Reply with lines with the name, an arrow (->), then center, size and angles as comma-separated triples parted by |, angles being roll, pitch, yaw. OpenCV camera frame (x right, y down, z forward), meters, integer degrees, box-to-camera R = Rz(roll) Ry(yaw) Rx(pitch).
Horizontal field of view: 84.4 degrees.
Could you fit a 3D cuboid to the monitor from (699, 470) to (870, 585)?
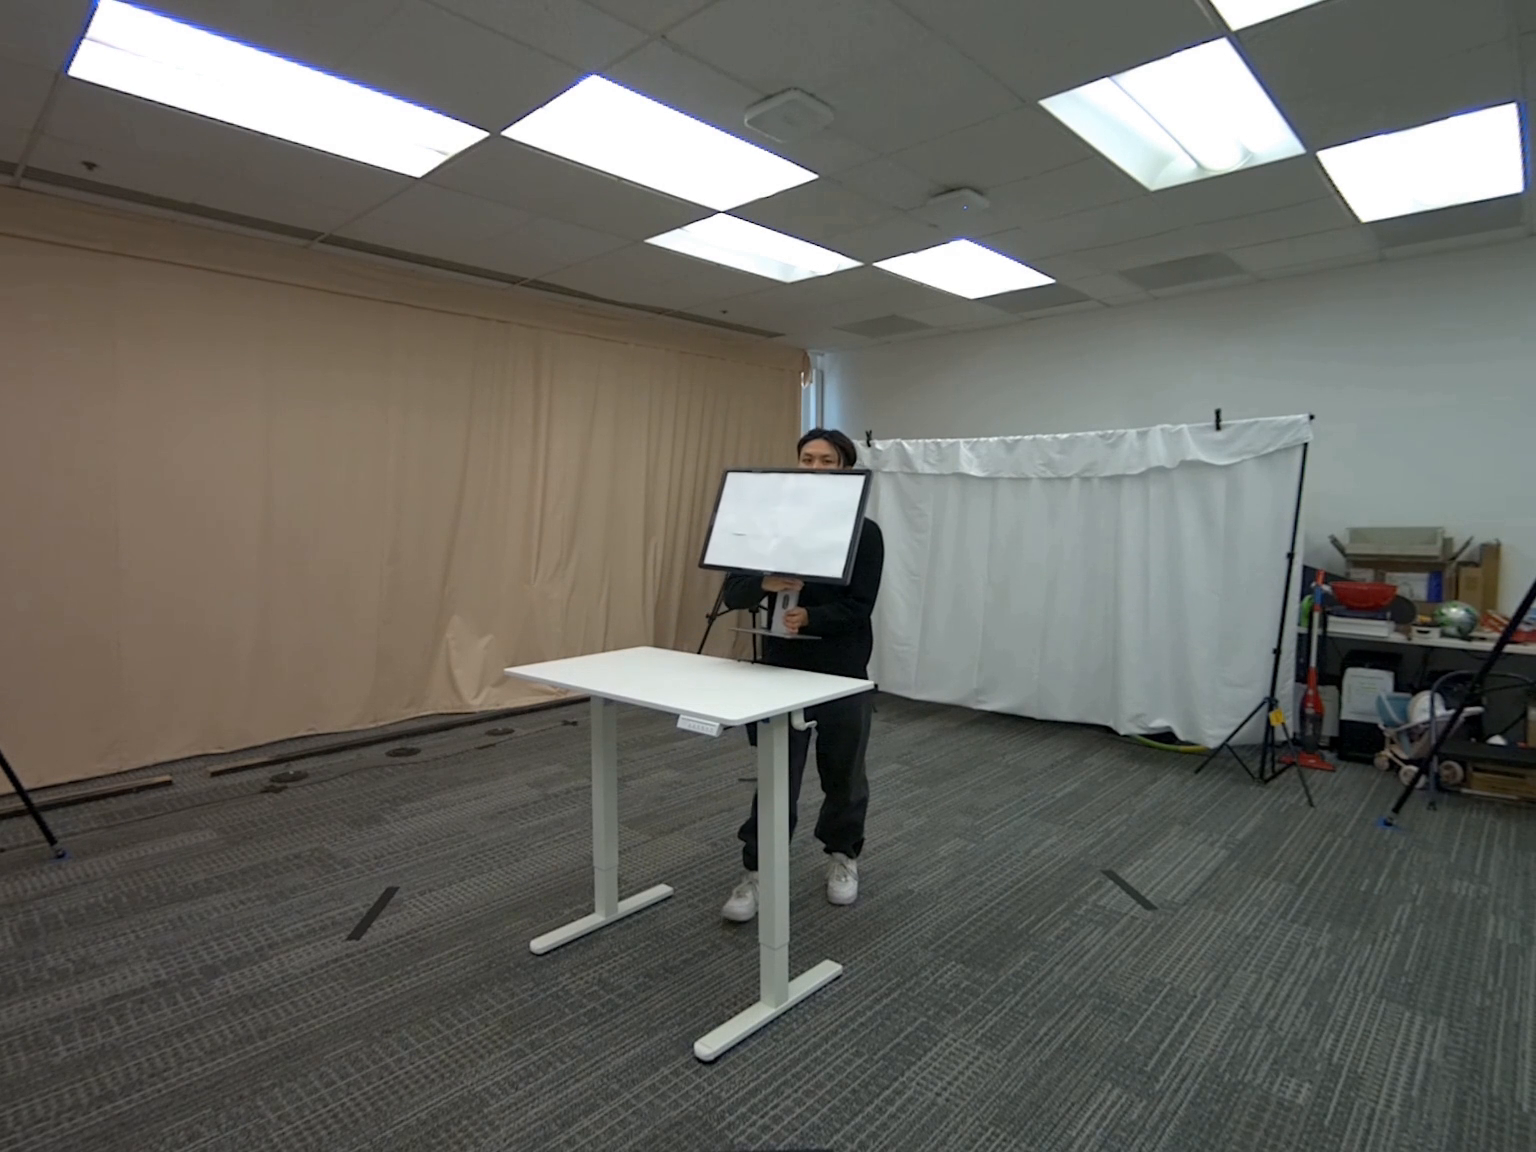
monitor -> 0.049, -0.083, 2.700 | 0.547, 0.515, 0.169 | 7, 4, 36
